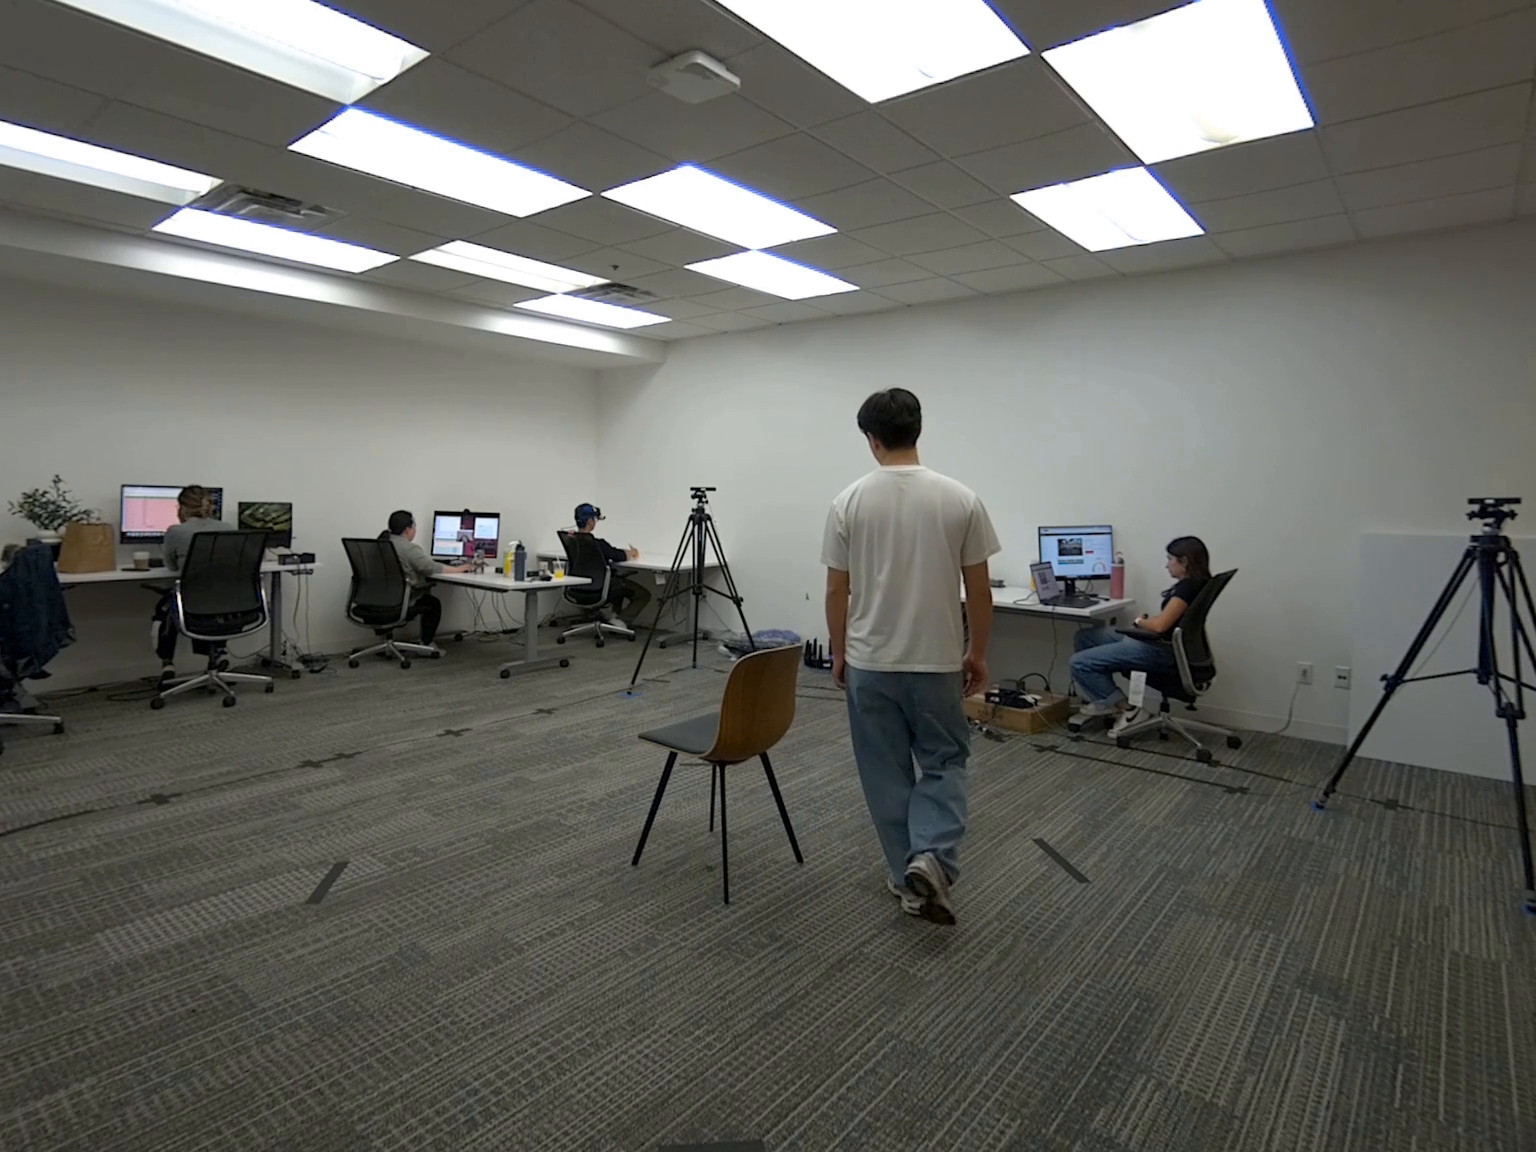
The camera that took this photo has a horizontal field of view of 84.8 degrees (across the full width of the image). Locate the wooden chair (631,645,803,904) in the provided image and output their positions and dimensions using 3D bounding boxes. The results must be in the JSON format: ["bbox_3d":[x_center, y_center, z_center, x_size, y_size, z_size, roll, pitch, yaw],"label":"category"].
[{"bbox_3d":[-0.192,0.637,3.130,0.542,0.873,0.464,9,8,38],"label":"wooden chair"}]
